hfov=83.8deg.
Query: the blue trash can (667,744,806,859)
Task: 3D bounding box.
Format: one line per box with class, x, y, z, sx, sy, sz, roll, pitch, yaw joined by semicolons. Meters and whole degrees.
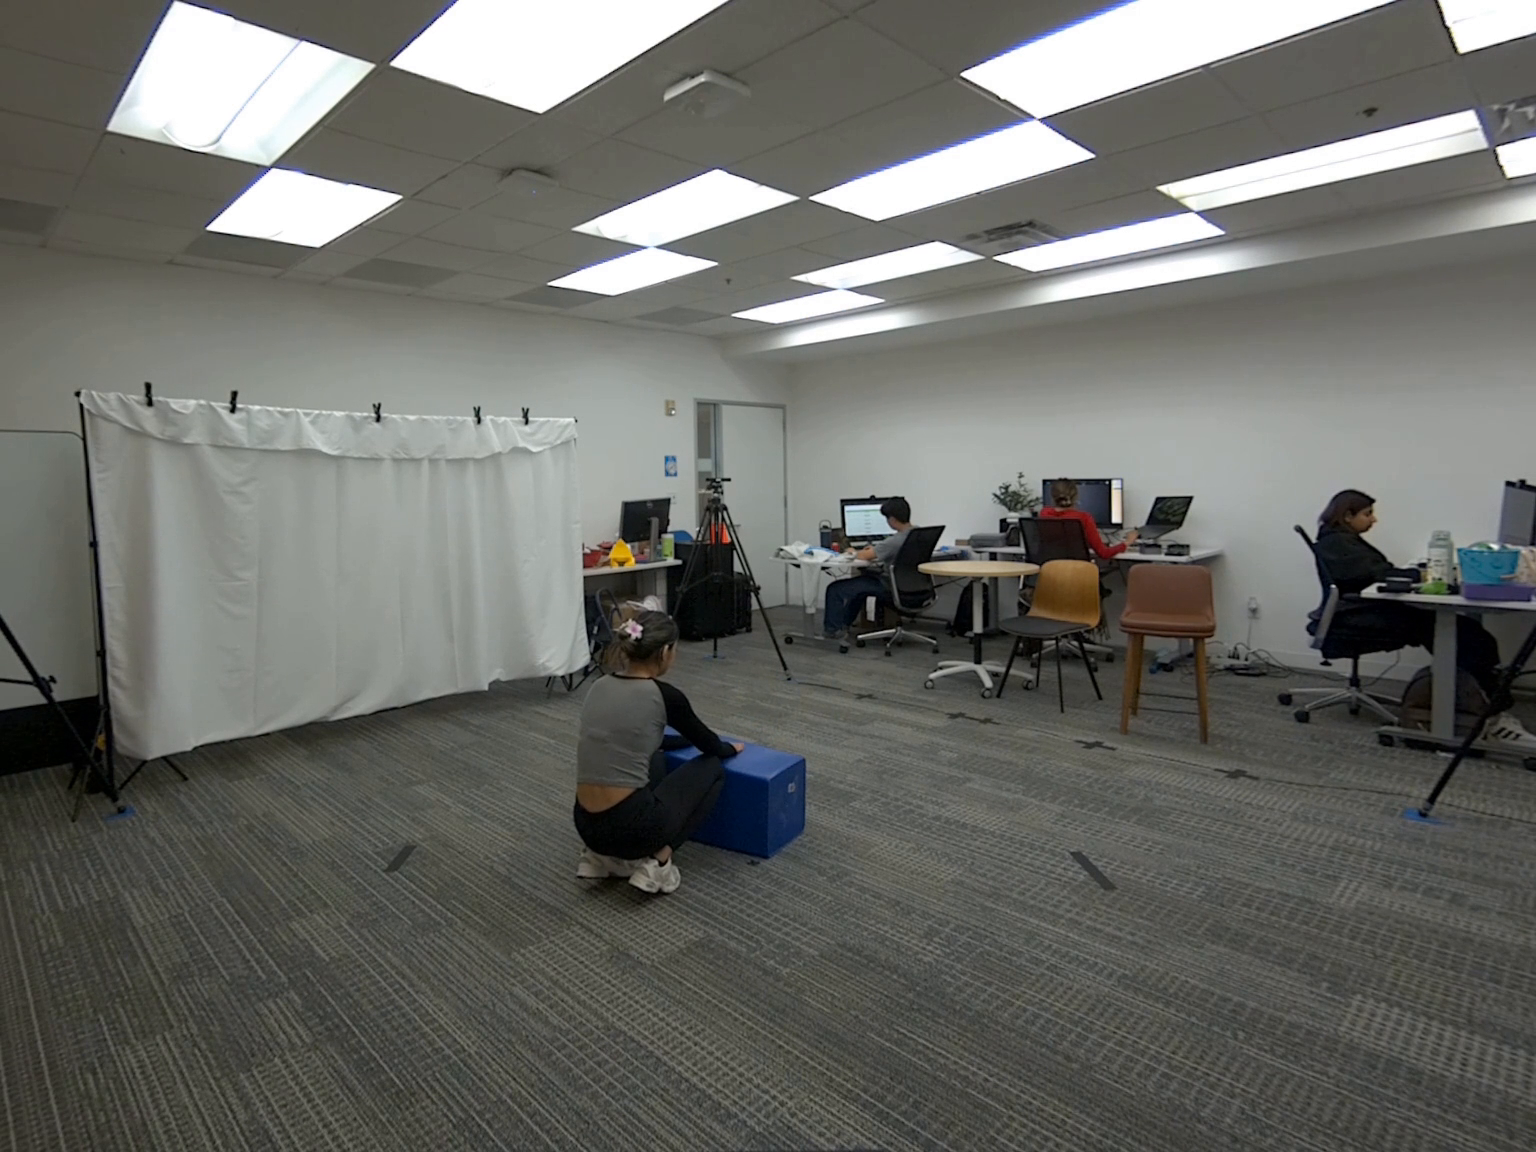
blue trash can;-0.231;0.843;3.424;0.734;0.376;0.365;5;6;31
